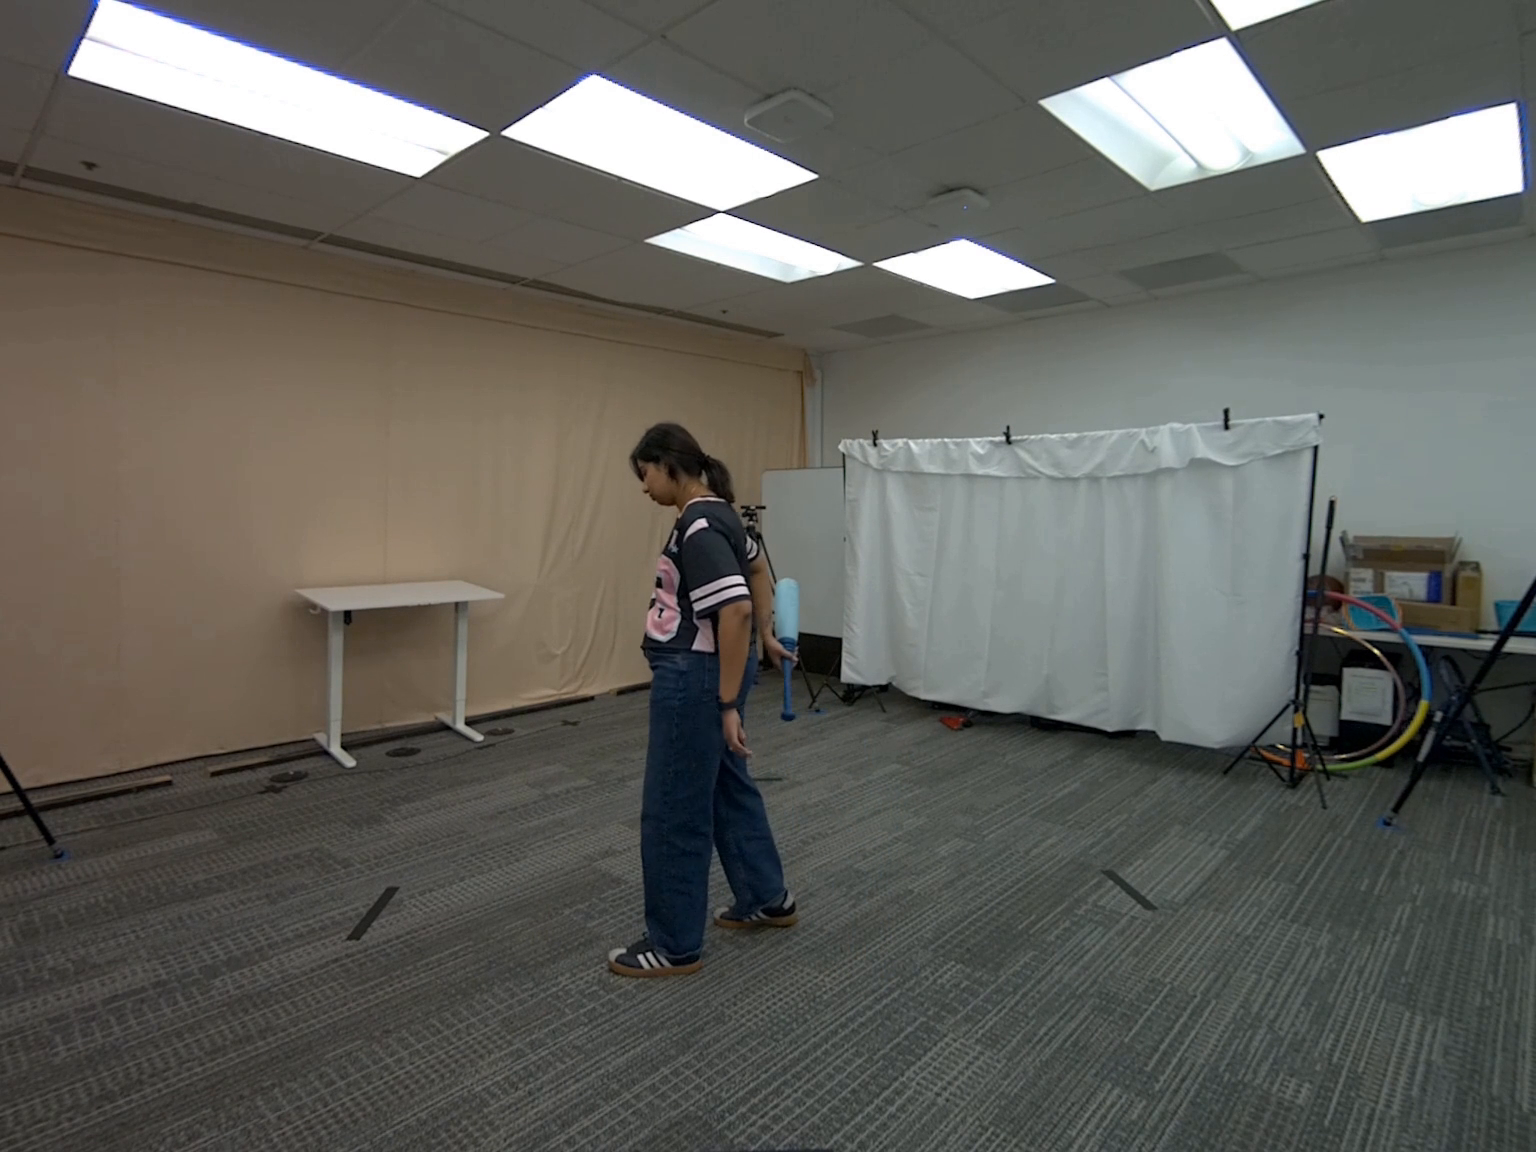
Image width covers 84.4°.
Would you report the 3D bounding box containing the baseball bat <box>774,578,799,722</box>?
[{"bbox_3d":[0.067,0.258,2.893,0.089,0.551,0.087,3,-37,1],"label":"baseball bat"}]
